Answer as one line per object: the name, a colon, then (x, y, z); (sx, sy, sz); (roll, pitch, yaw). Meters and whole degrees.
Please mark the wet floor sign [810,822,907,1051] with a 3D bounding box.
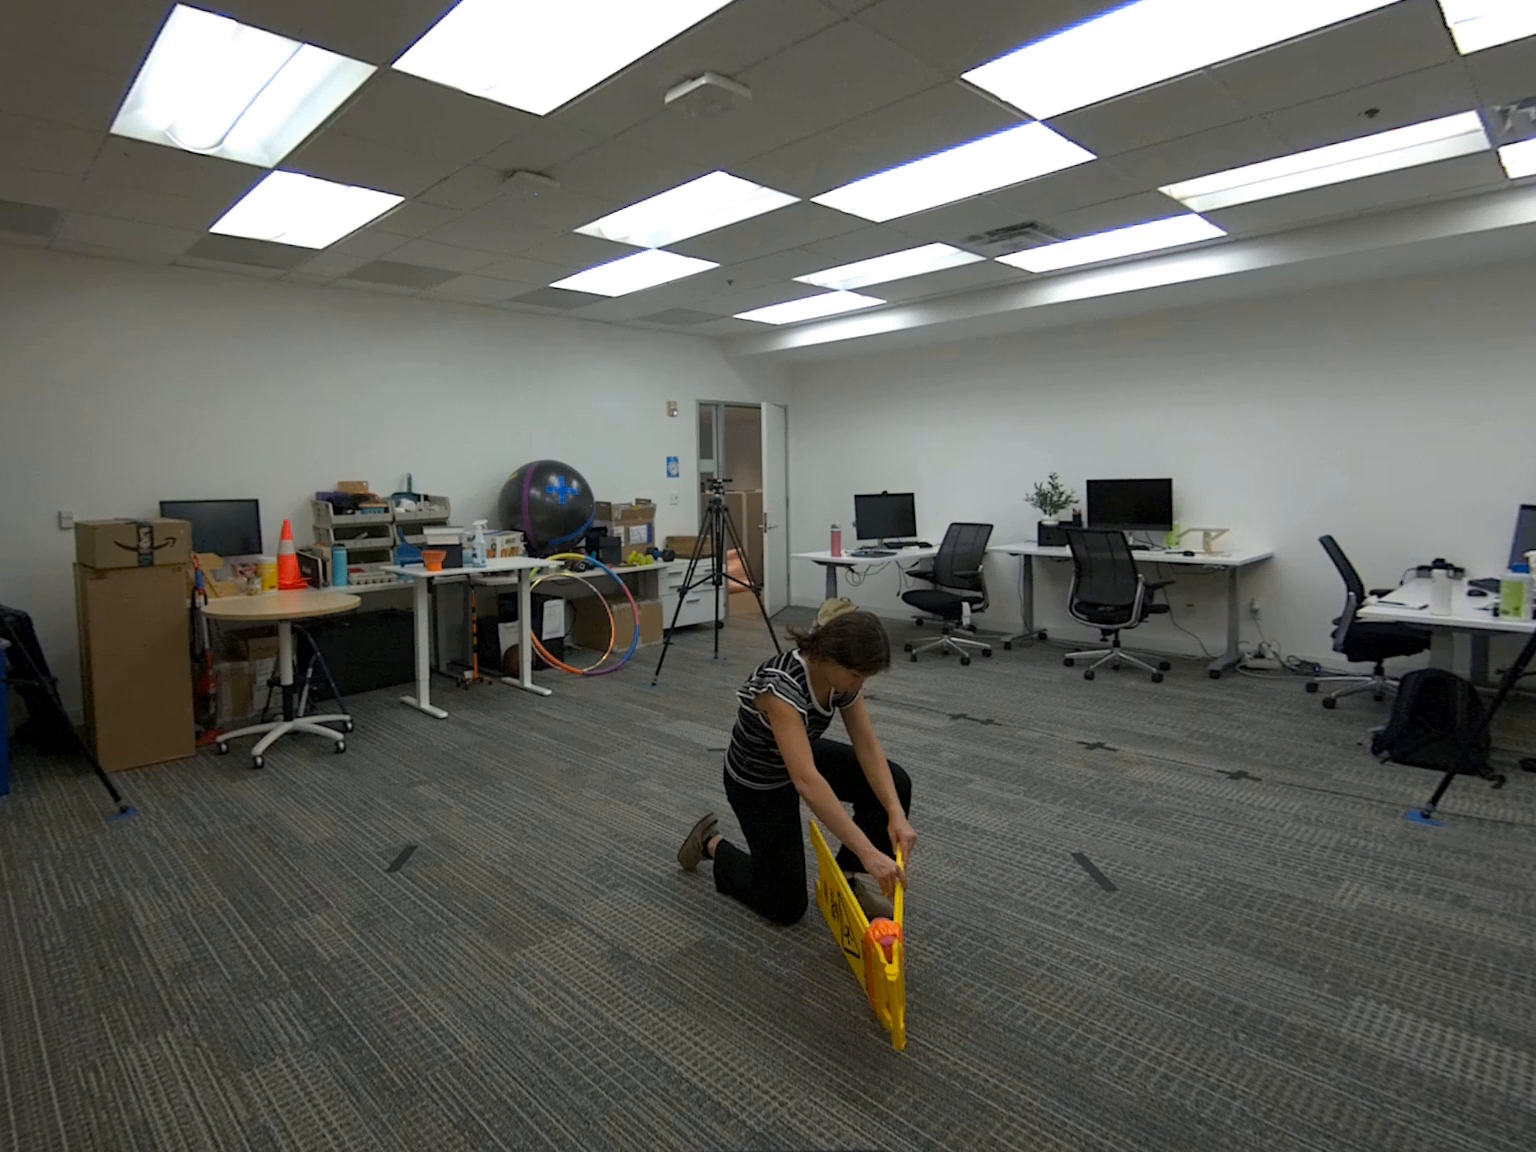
wet floor sign: (0.285, 0.936, 2.269); (0.290, 0.278, 0.654); (-8, 15, 0)
